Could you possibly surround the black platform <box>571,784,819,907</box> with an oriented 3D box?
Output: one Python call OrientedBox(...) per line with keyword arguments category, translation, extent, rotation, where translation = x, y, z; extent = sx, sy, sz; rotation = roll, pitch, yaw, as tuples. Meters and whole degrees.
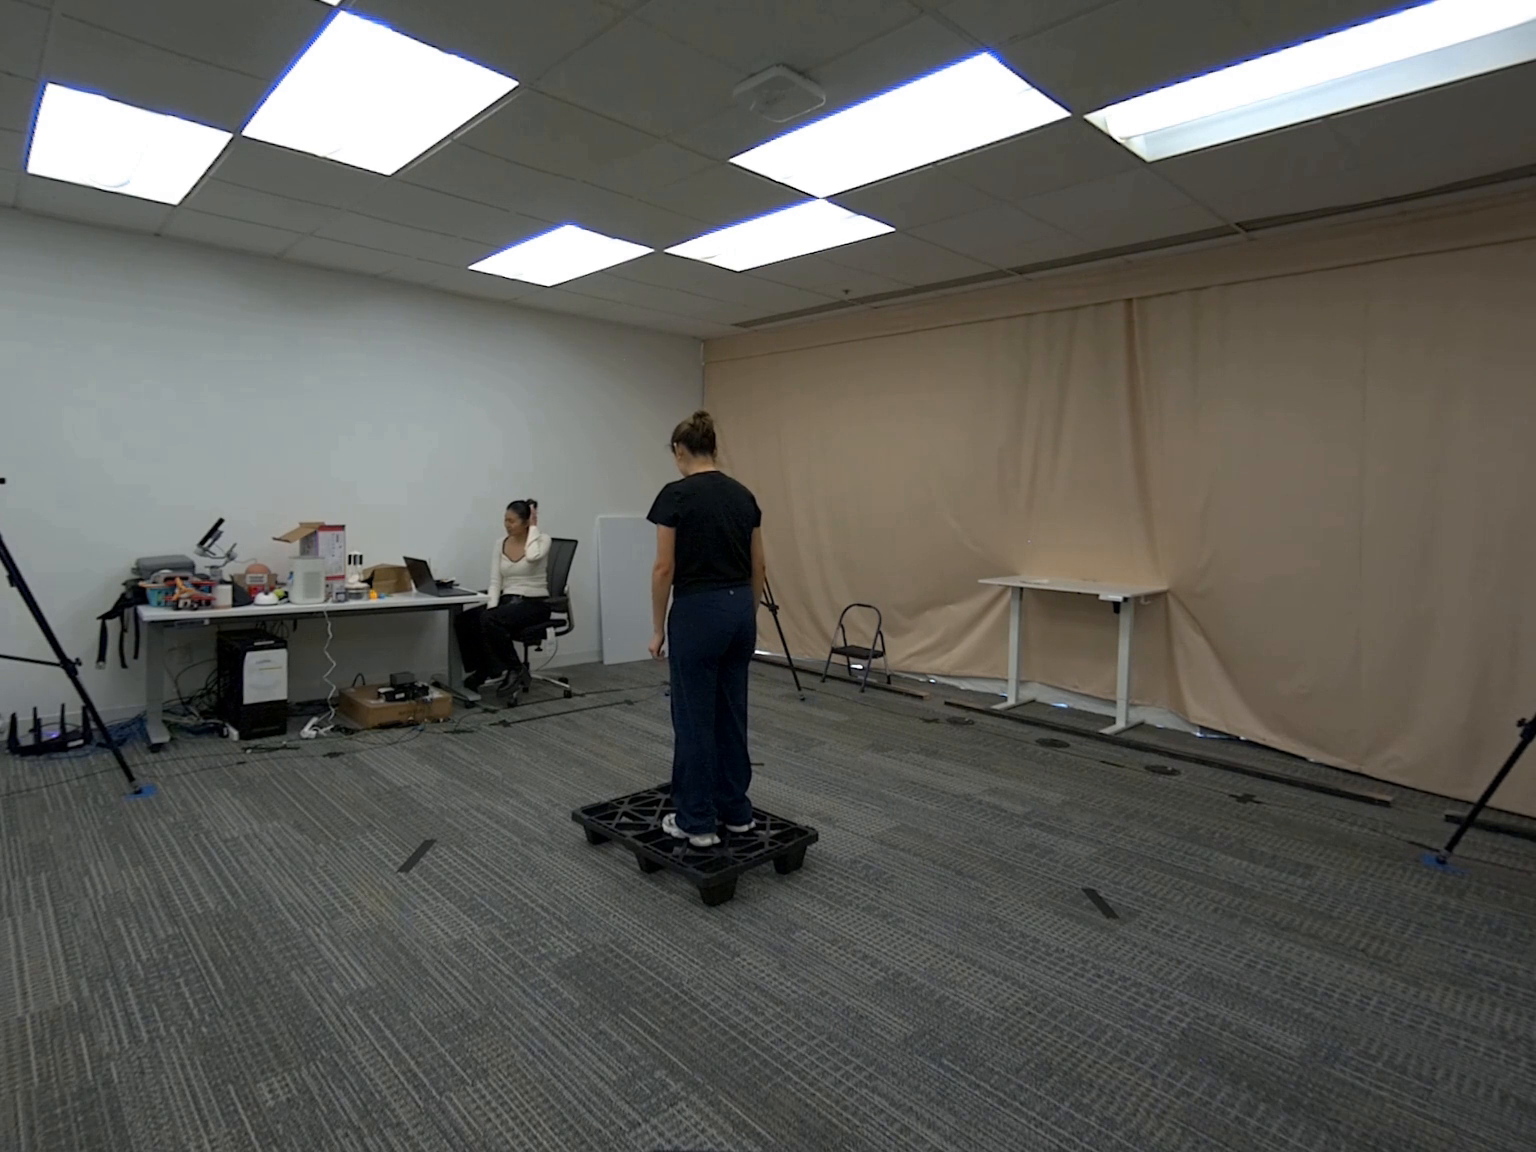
OrientedBox(category="black platform", translation=(-0.296, 1.019, 3.272), extent=(0.826, 0.143, 0.591), rotation=(7, 7, 44))
